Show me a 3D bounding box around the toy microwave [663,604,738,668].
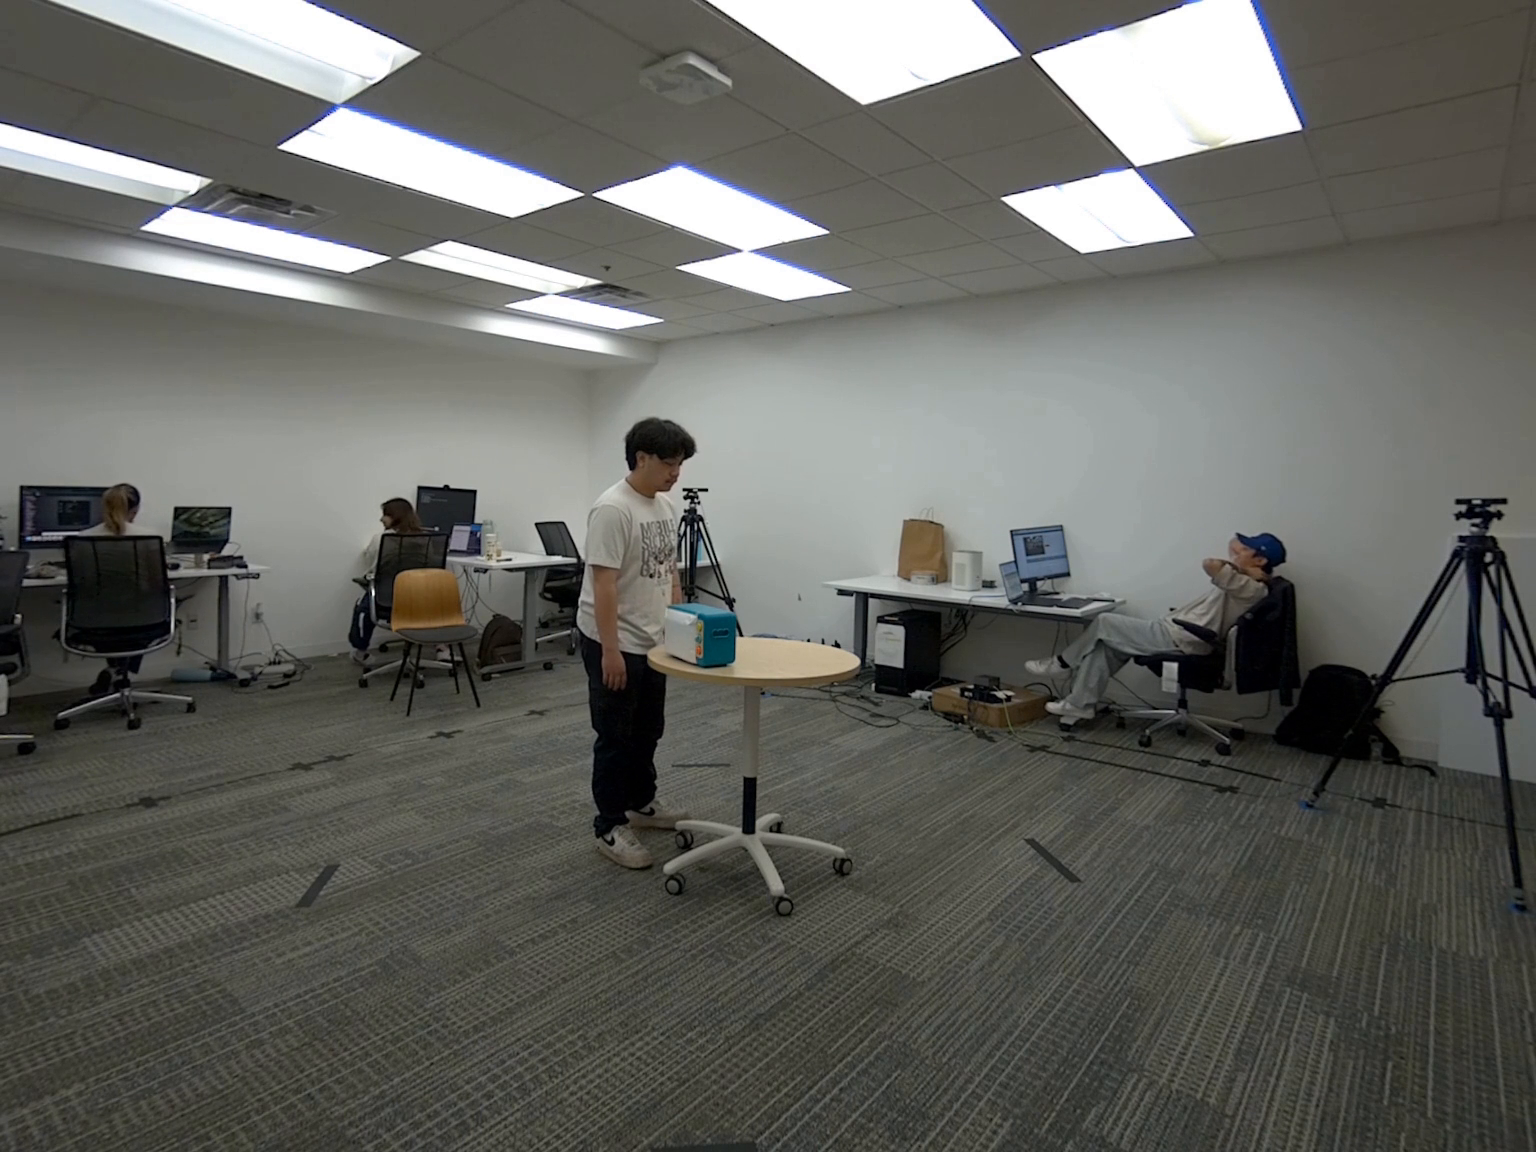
[{"bbox_3d":[-0.256,0.198,2.944,0.148,0.183,0.295,0,5,-35],"label":"toy microwave"}]
